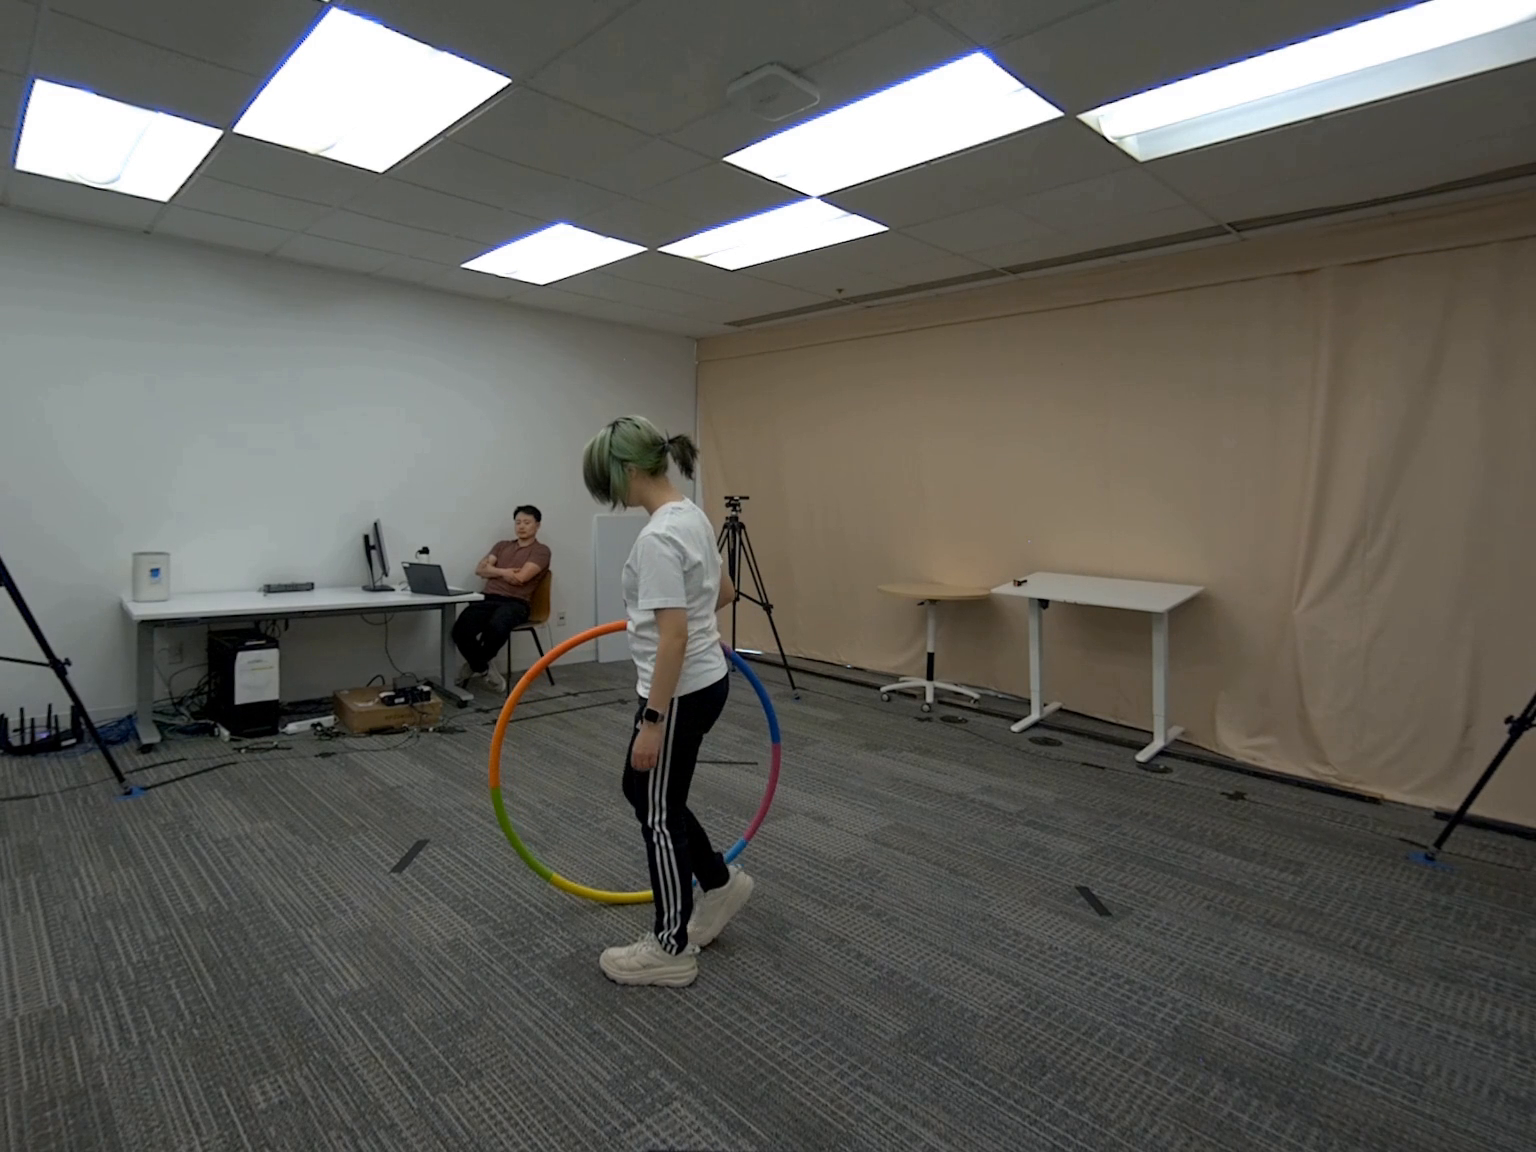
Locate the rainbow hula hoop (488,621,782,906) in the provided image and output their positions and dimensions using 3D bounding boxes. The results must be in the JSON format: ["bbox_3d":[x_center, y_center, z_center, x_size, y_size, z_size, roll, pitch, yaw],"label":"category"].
[{"bbox_3d":[-0.427,0.635,2.843,0.967,0.975,0.036,0,5,-14],"label":"rainbow hula hoop"}]
